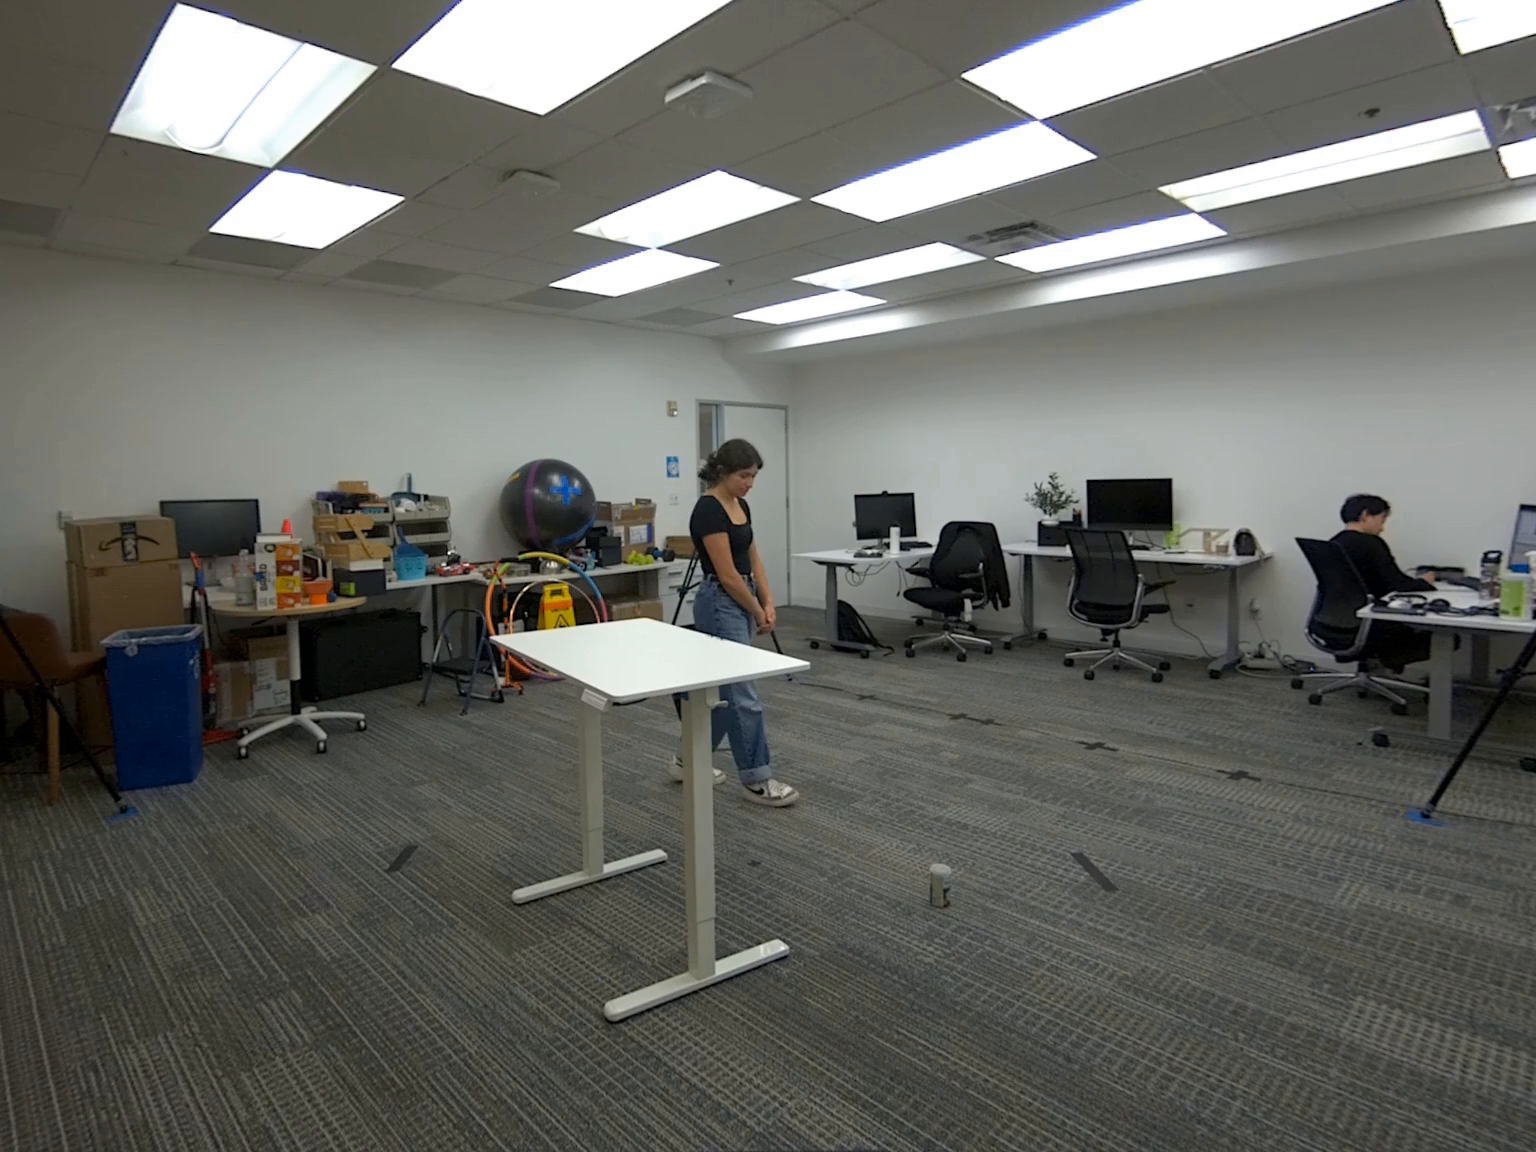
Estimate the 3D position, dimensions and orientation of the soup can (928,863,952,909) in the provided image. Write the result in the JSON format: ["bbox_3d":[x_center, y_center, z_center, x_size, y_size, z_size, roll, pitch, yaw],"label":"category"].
[{"bbox_3d":[0.561,1.006,2.779,0.067,0.120,0.068,0,8,-2],"label":"soup can"}]
